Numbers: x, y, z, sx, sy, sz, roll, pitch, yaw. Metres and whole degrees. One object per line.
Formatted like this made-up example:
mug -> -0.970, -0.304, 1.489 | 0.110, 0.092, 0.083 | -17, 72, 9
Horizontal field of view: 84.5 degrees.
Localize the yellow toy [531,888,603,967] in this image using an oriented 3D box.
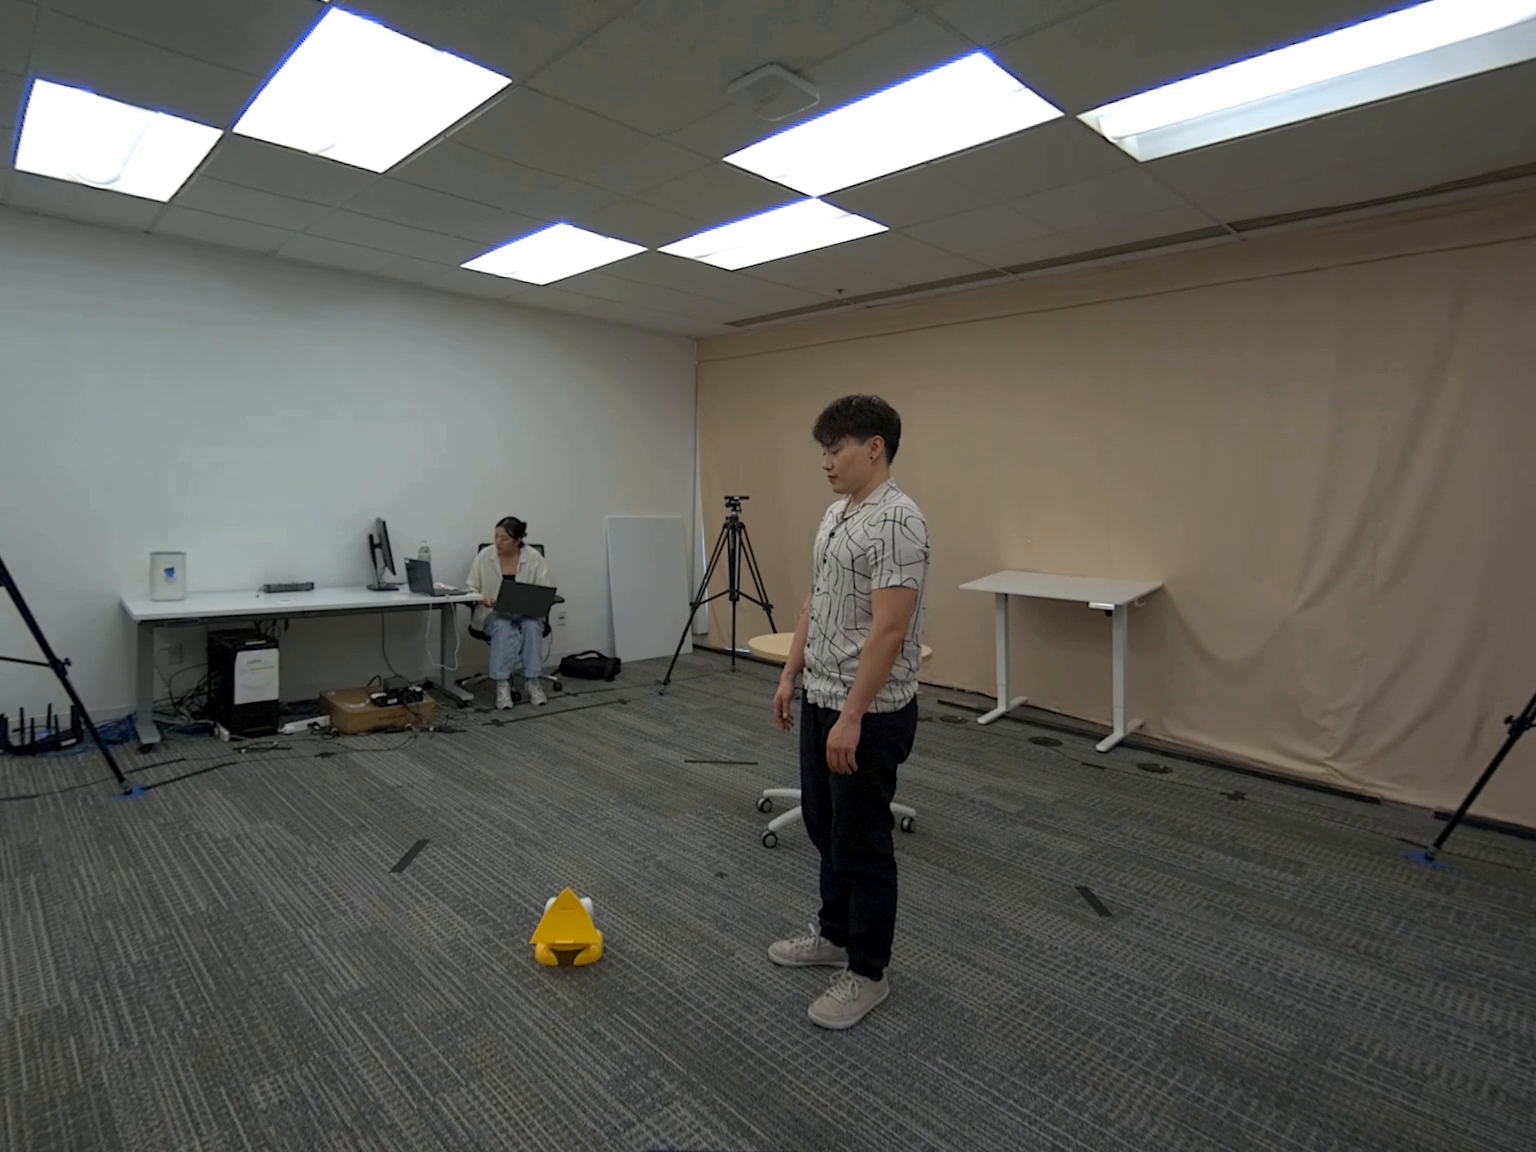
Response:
yellow toy -> -0.615, 1.037, 2.548 | 0.204, 0.230, 0.194 | 1, 5, -2
